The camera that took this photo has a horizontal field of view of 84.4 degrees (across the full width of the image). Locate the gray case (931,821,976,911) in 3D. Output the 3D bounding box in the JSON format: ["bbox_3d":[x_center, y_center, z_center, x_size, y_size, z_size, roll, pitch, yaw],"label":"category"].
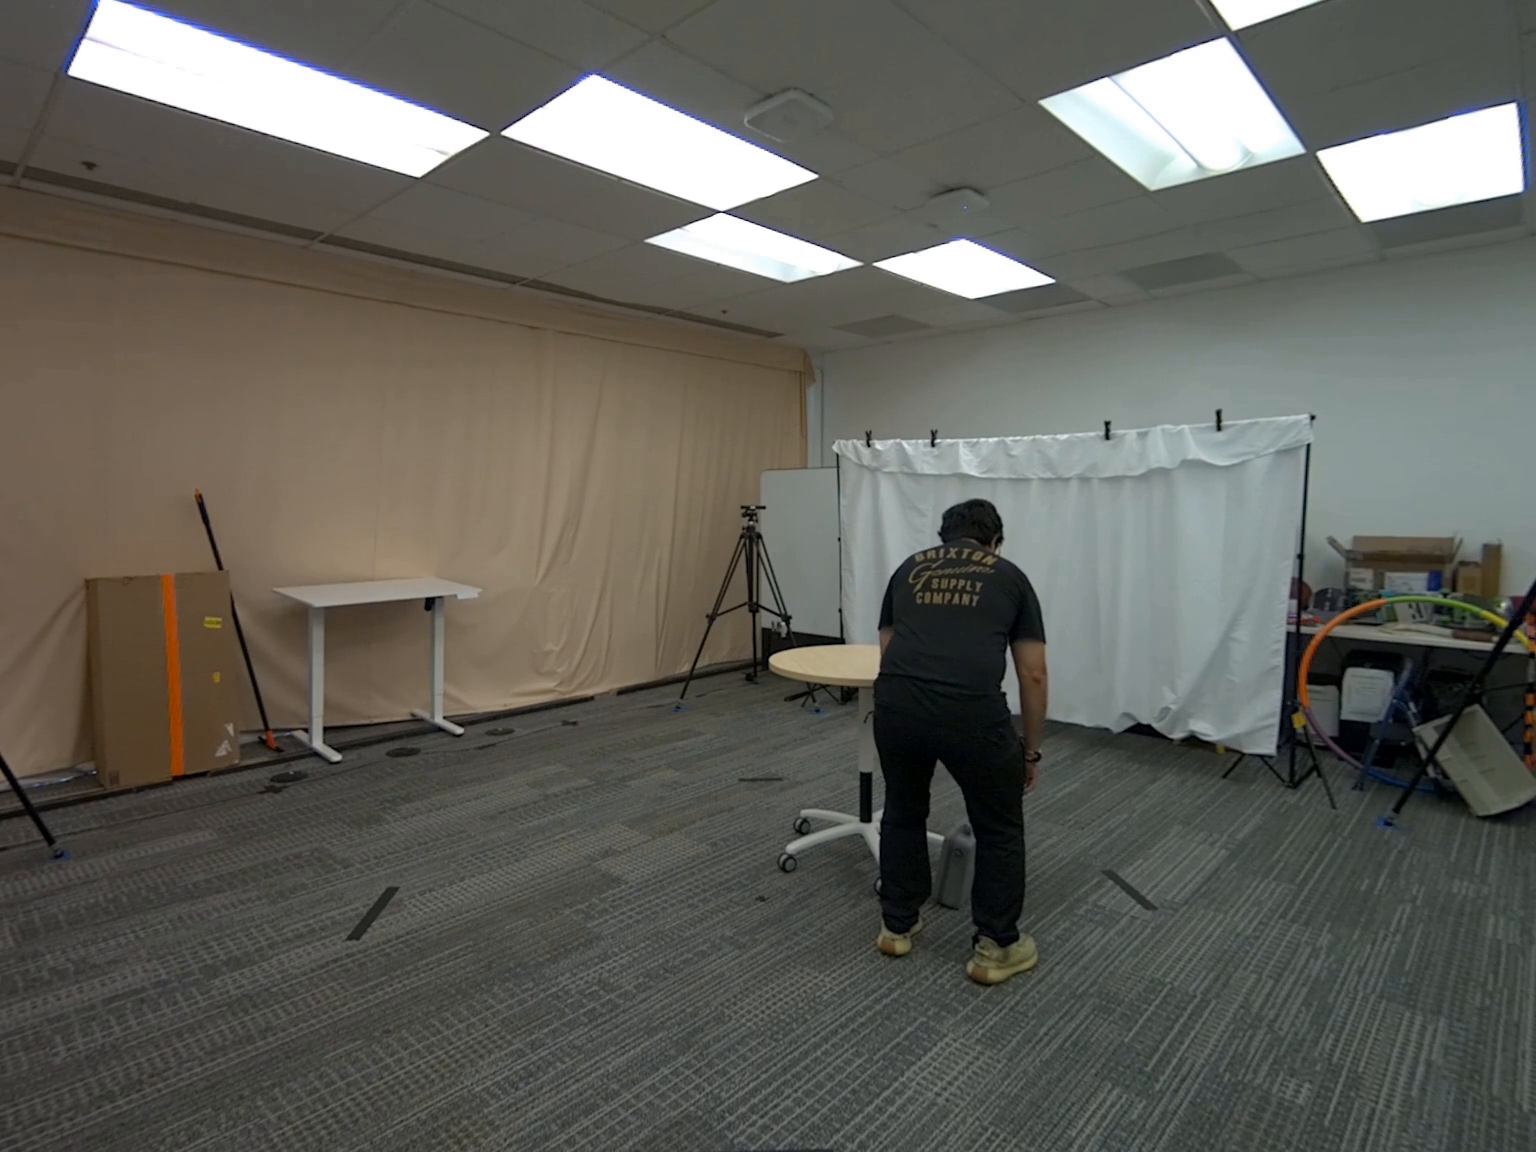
[{"bbox_3d":[0.693,1.014,2.989,0.108,0.260,0.250,13,9,31],"label":"gray case"}]
